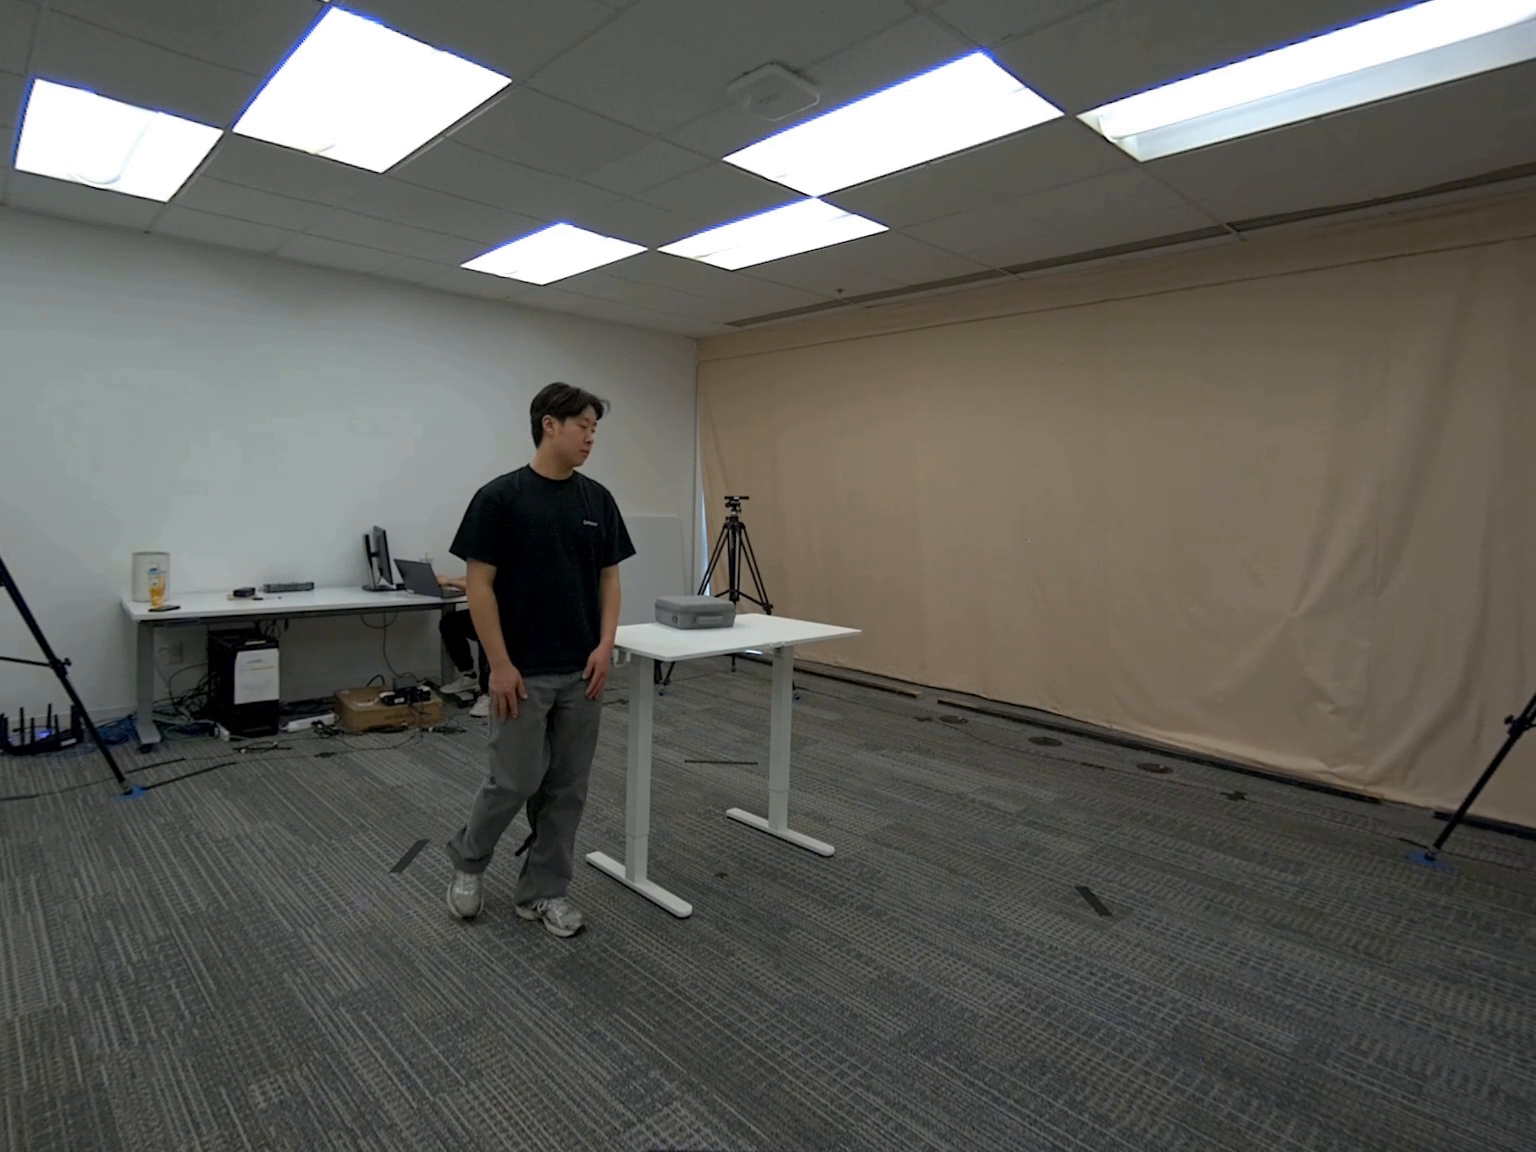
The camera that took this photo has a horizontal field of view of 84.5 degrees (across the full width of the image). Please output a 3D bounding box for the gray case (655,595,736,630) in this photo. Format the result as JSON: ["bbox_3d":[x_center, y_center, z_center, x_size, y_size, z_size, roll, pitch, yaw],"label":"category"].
[{"bbox_3d":[-0.296,0.142,3.358,0.251,0.104,0.267,0,6,-31],"label":"gray case"}]
